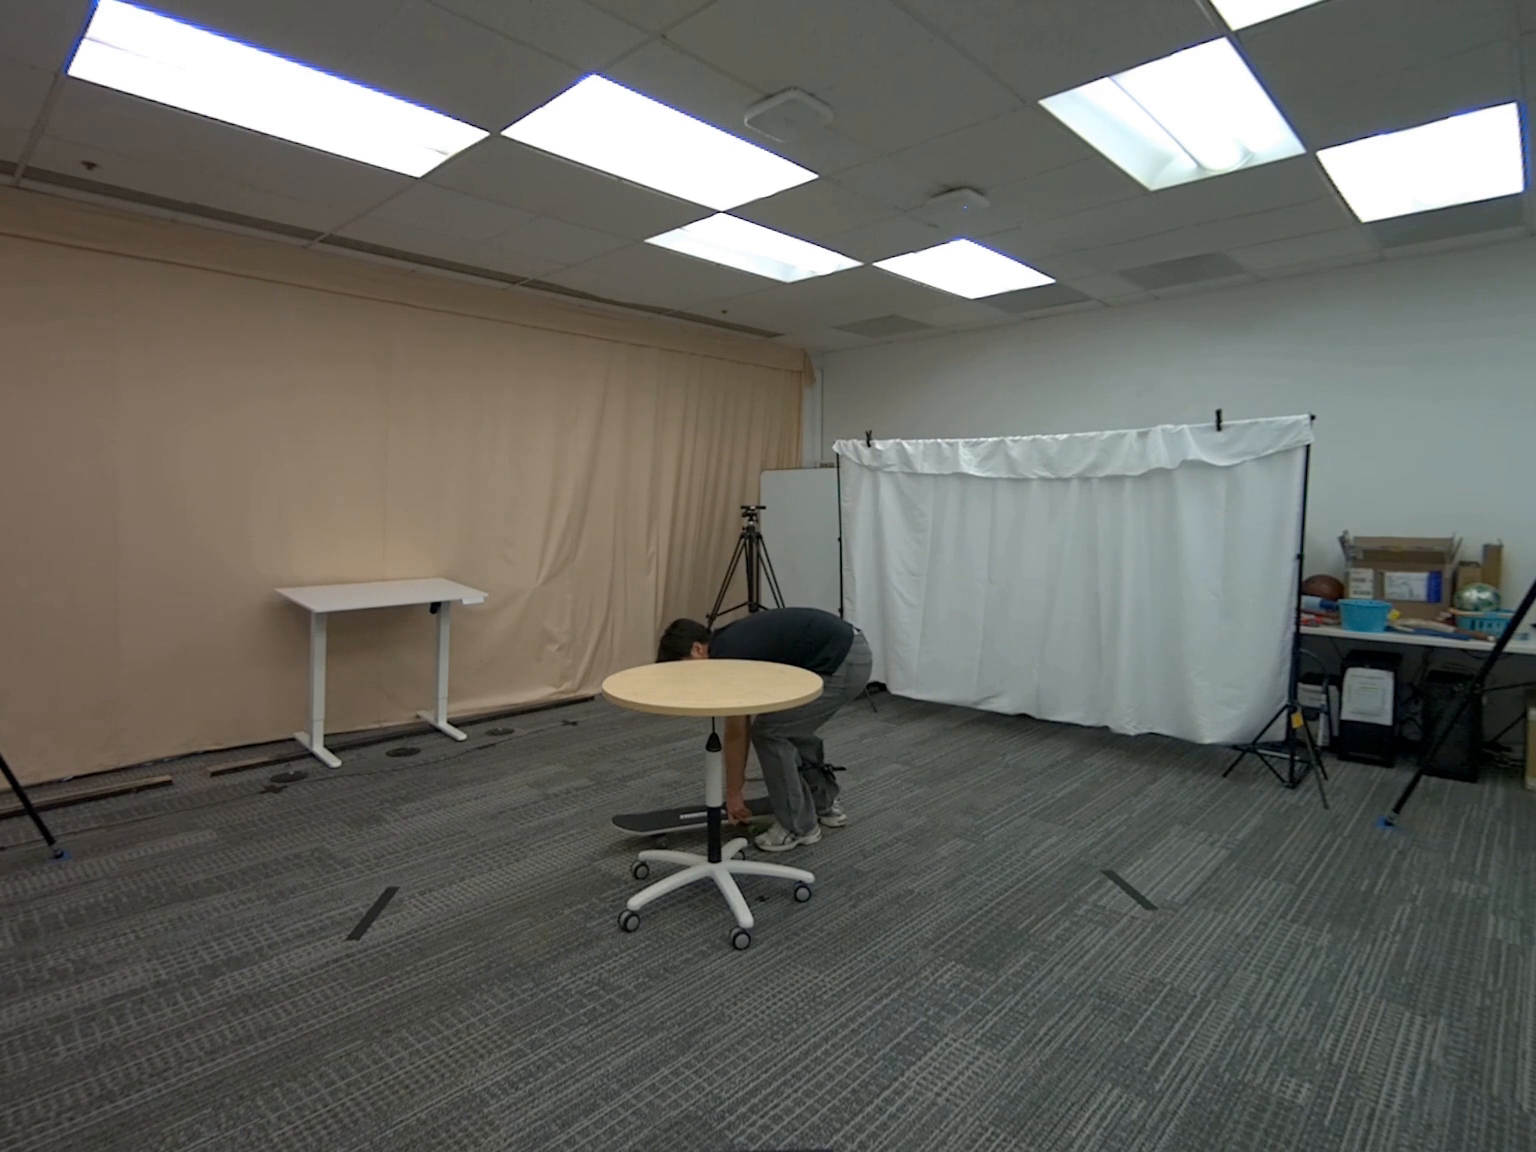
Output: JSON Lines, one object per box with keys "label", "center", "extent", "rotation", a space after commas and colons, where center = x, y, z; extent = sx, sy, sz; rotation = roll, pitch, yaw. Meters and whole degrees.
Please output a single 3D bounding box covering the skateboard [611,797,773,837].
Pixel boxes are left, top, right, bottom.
{"label": "skateboard", "center": [-0.288, 1.046, 3.562], "extent": [0.771, 0.110, 0.198], "rotation": [-2, 6, -18]}
